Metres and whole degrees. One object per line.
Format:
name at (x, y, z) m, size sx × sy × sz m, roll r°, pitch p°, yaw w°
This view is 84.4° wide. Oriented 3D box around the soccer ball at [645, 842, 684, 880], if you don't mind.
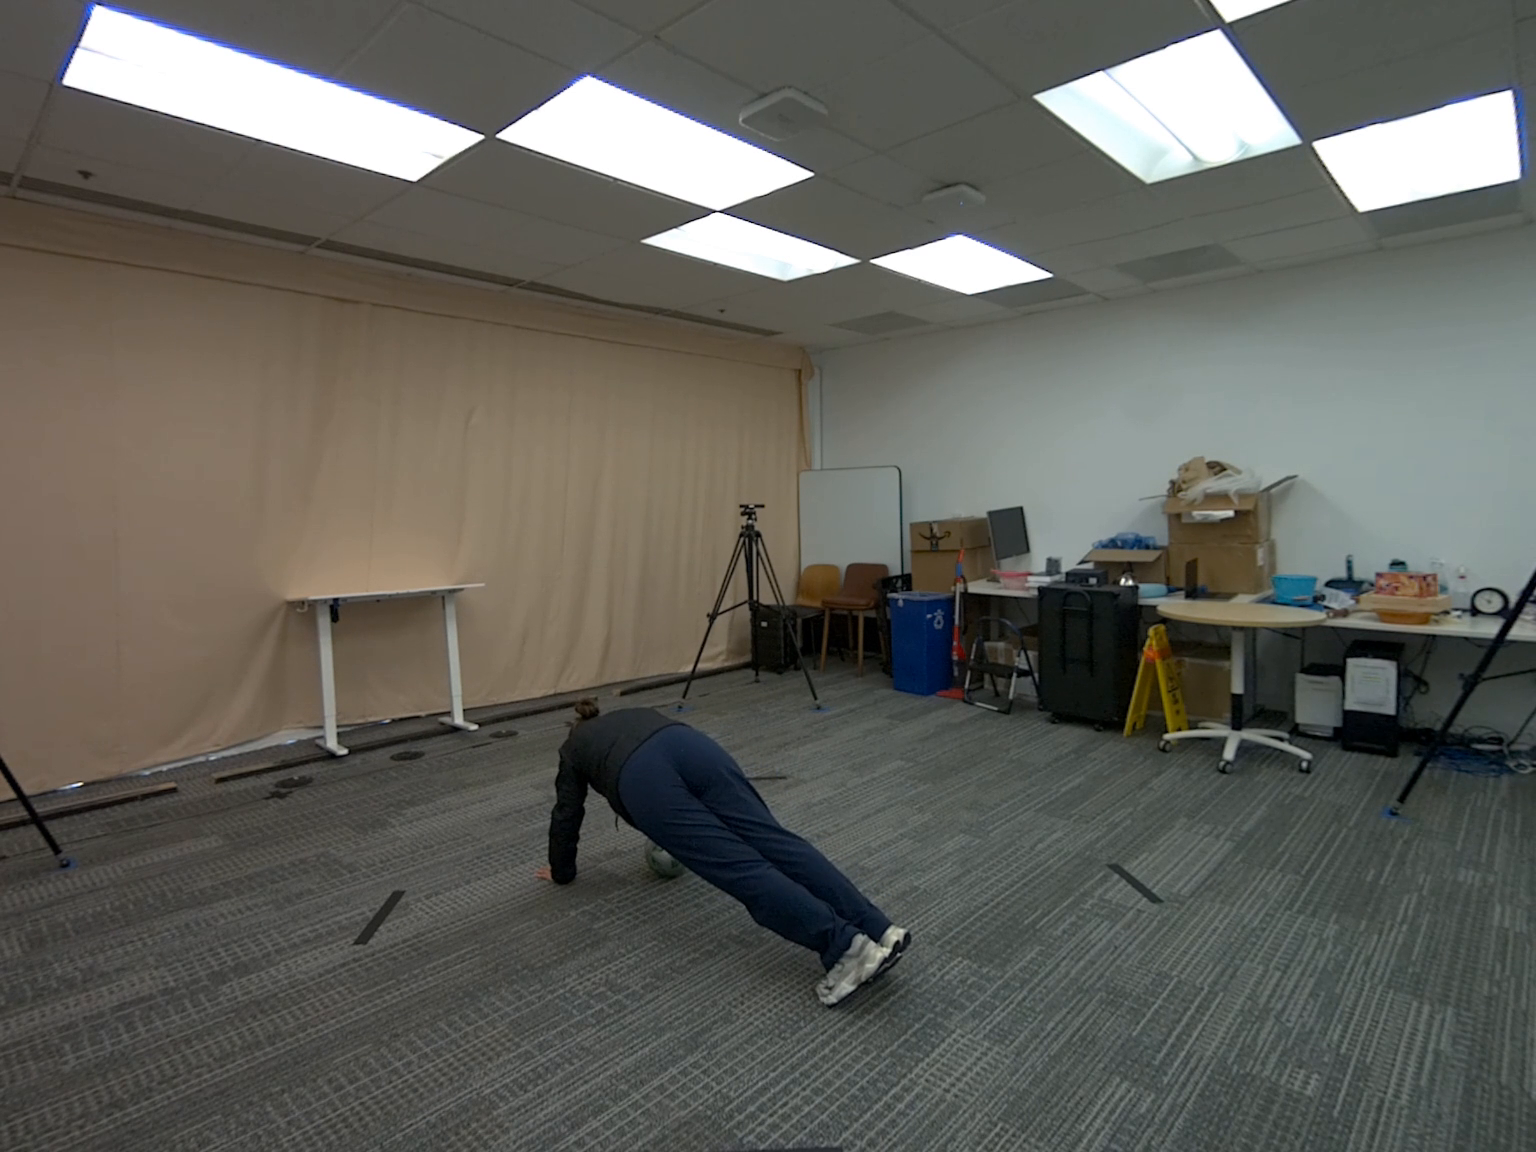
soccer ball at (-0.379, 1.034, 3.179) m, size 0.187 × 0.187 × 0.188 m, roll -1°, pitch 4°, yaw -2°
